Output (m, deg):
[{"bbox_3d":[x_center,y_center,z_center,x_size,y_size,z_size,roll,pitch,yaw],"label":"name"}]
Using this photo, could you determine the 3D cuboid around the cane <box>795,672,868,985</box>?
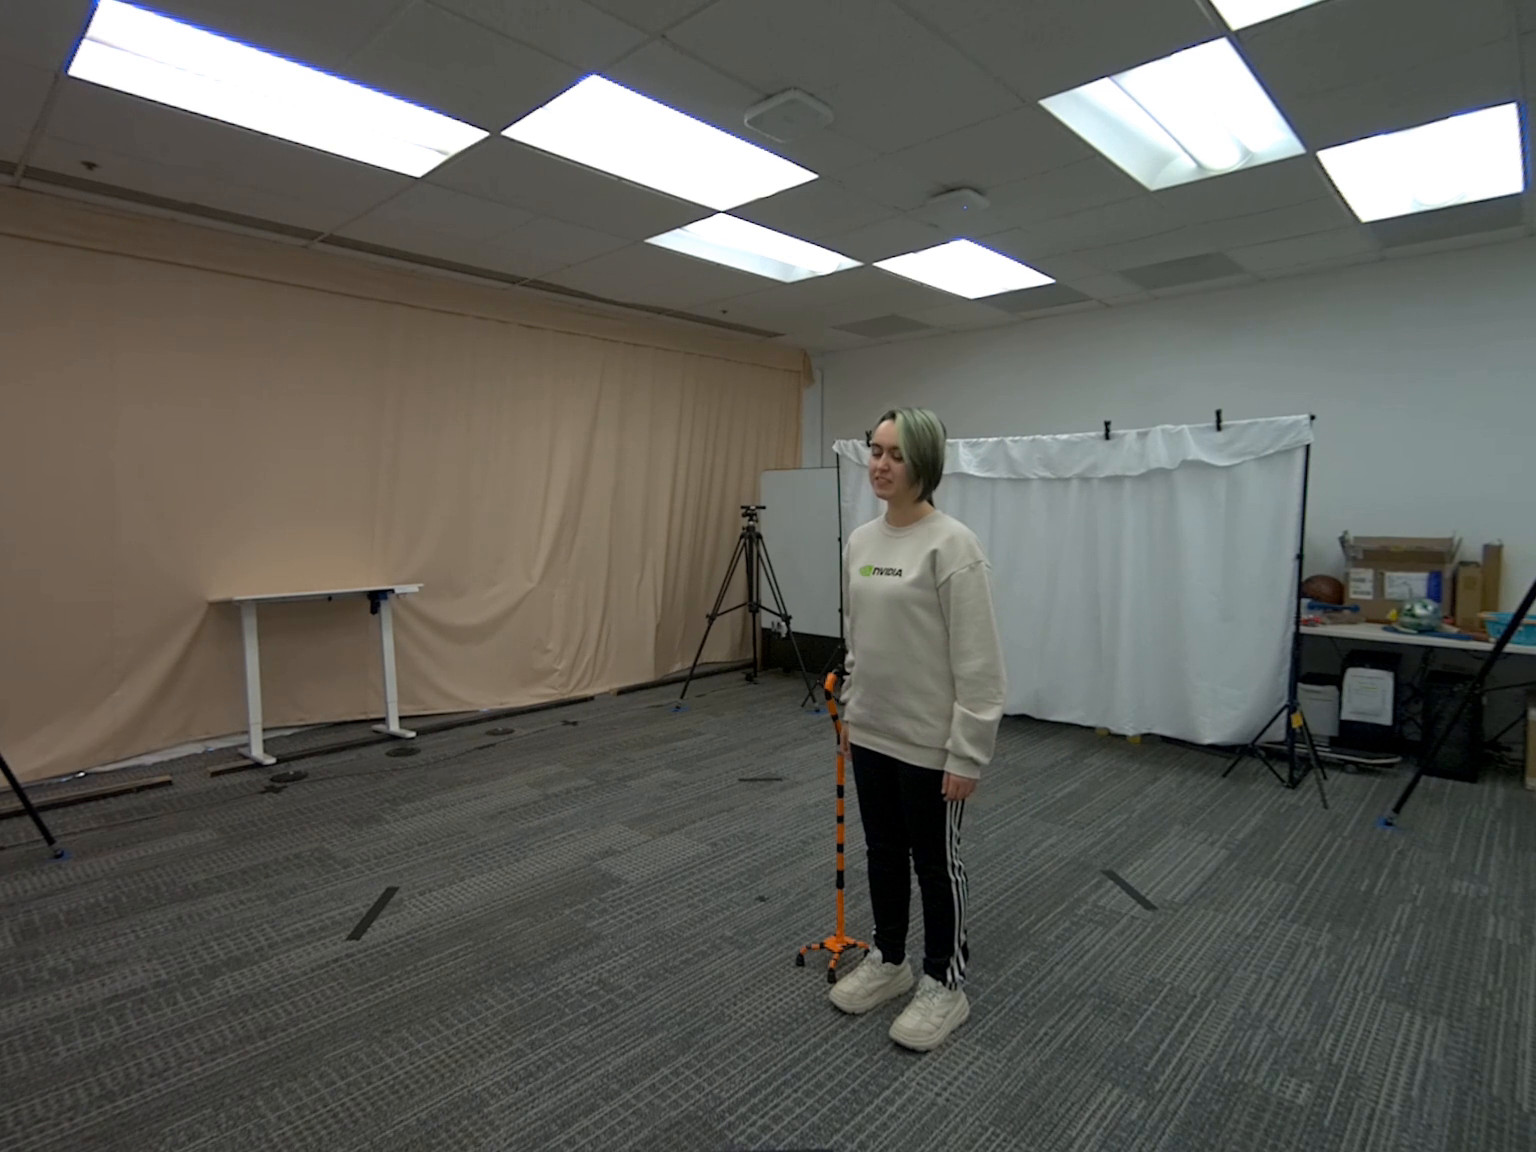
[{"bbox_3d":[0.207,0.726,2.544,0.200,0.906,0.157,-3,5,-43],"label":"cane"}]
